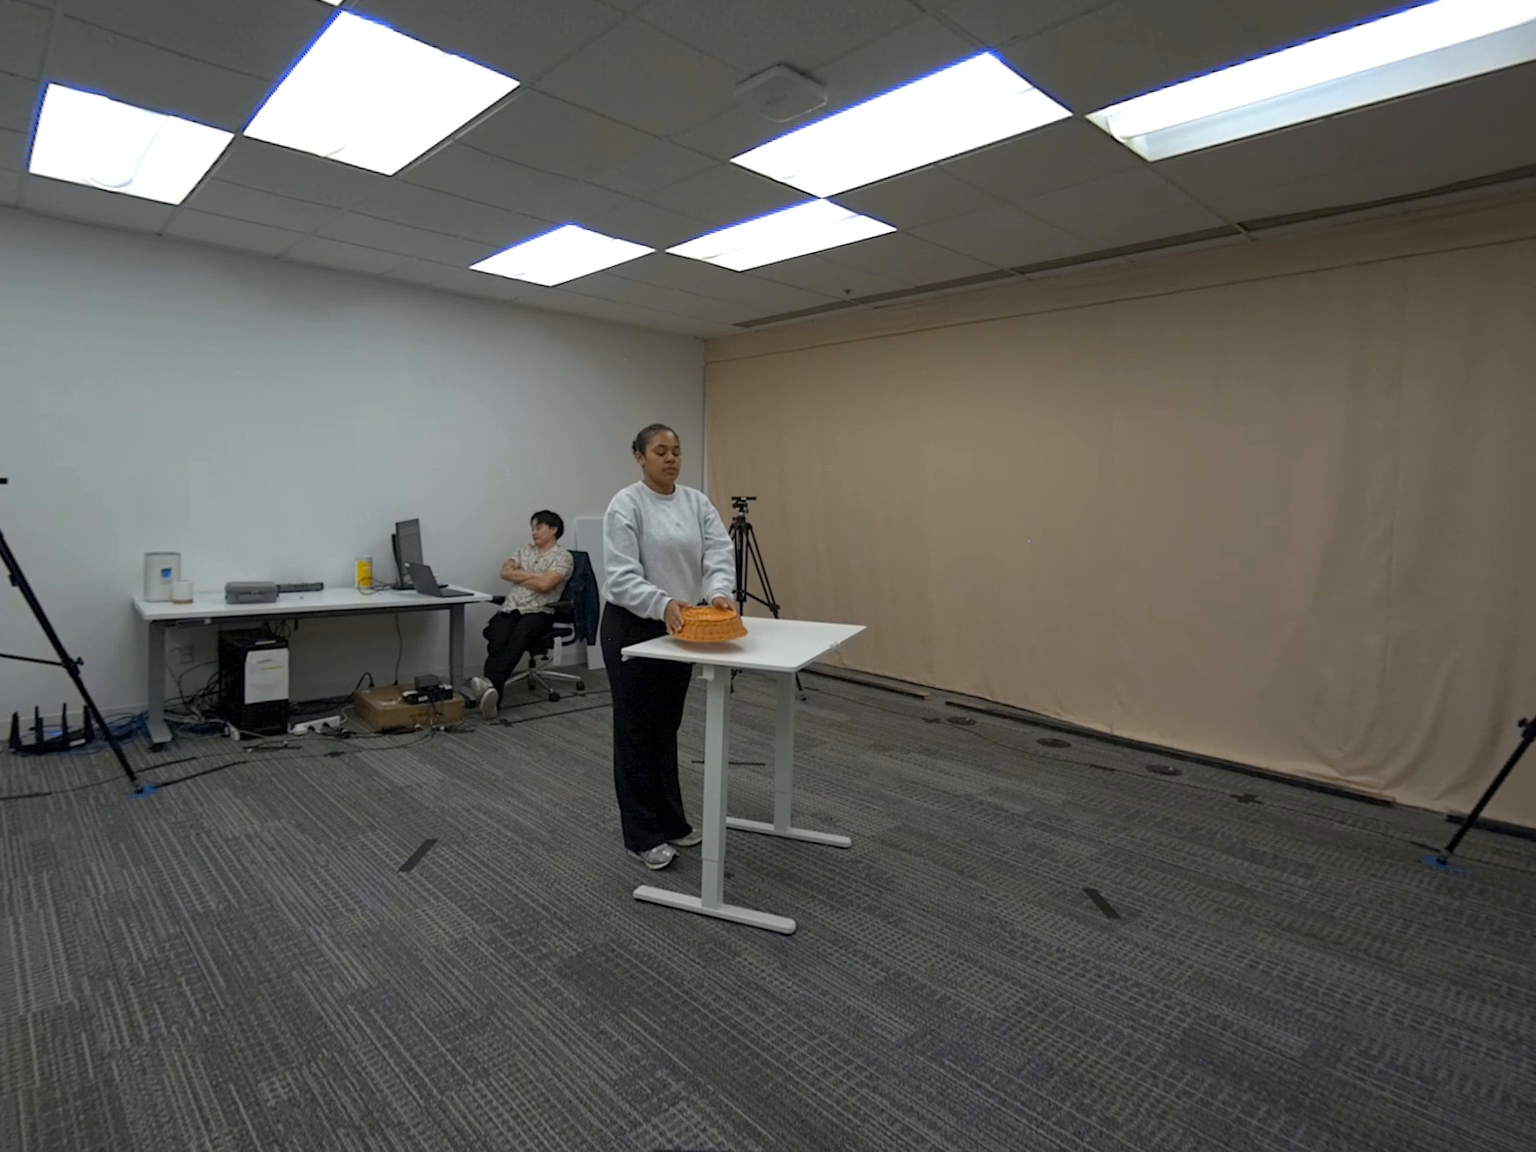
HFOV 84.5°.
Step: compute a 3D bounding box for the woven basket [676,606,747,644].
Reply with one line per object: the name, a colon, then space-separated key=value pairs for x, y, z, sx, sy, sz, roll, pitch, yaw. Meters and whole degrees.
woven basket: x=-0.233 y=0.161 z=2.882 sx=0.249 sy=0.073 sz=0.356 roll=-3 pitch=7 yaw=-17
